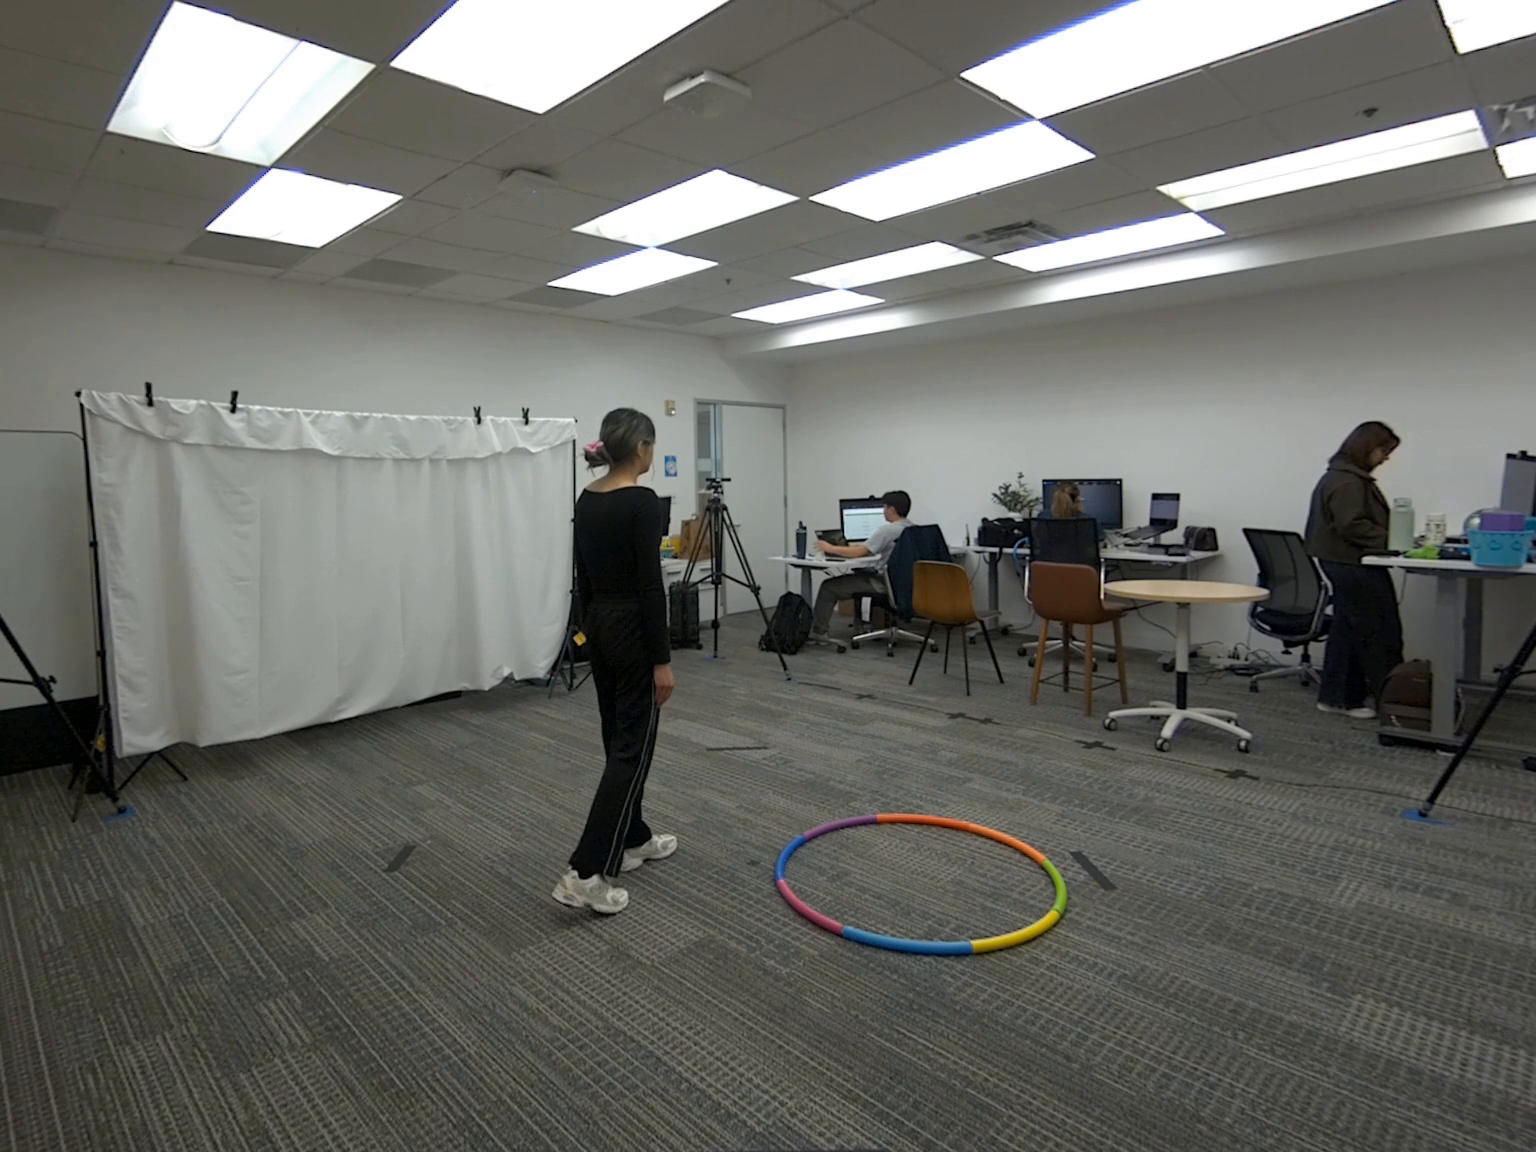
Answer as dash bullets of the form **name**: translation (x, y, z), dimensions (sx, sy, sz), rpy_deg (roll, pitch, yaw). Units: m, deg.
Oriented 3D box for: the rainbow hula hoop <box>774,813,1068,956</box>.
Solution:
- **rainbow hula hoop**: translation (0.509, 1.019, 2.970), dimensions (0.978, 0.035, 0.984), rpy_deg (-2, 6, -2)
